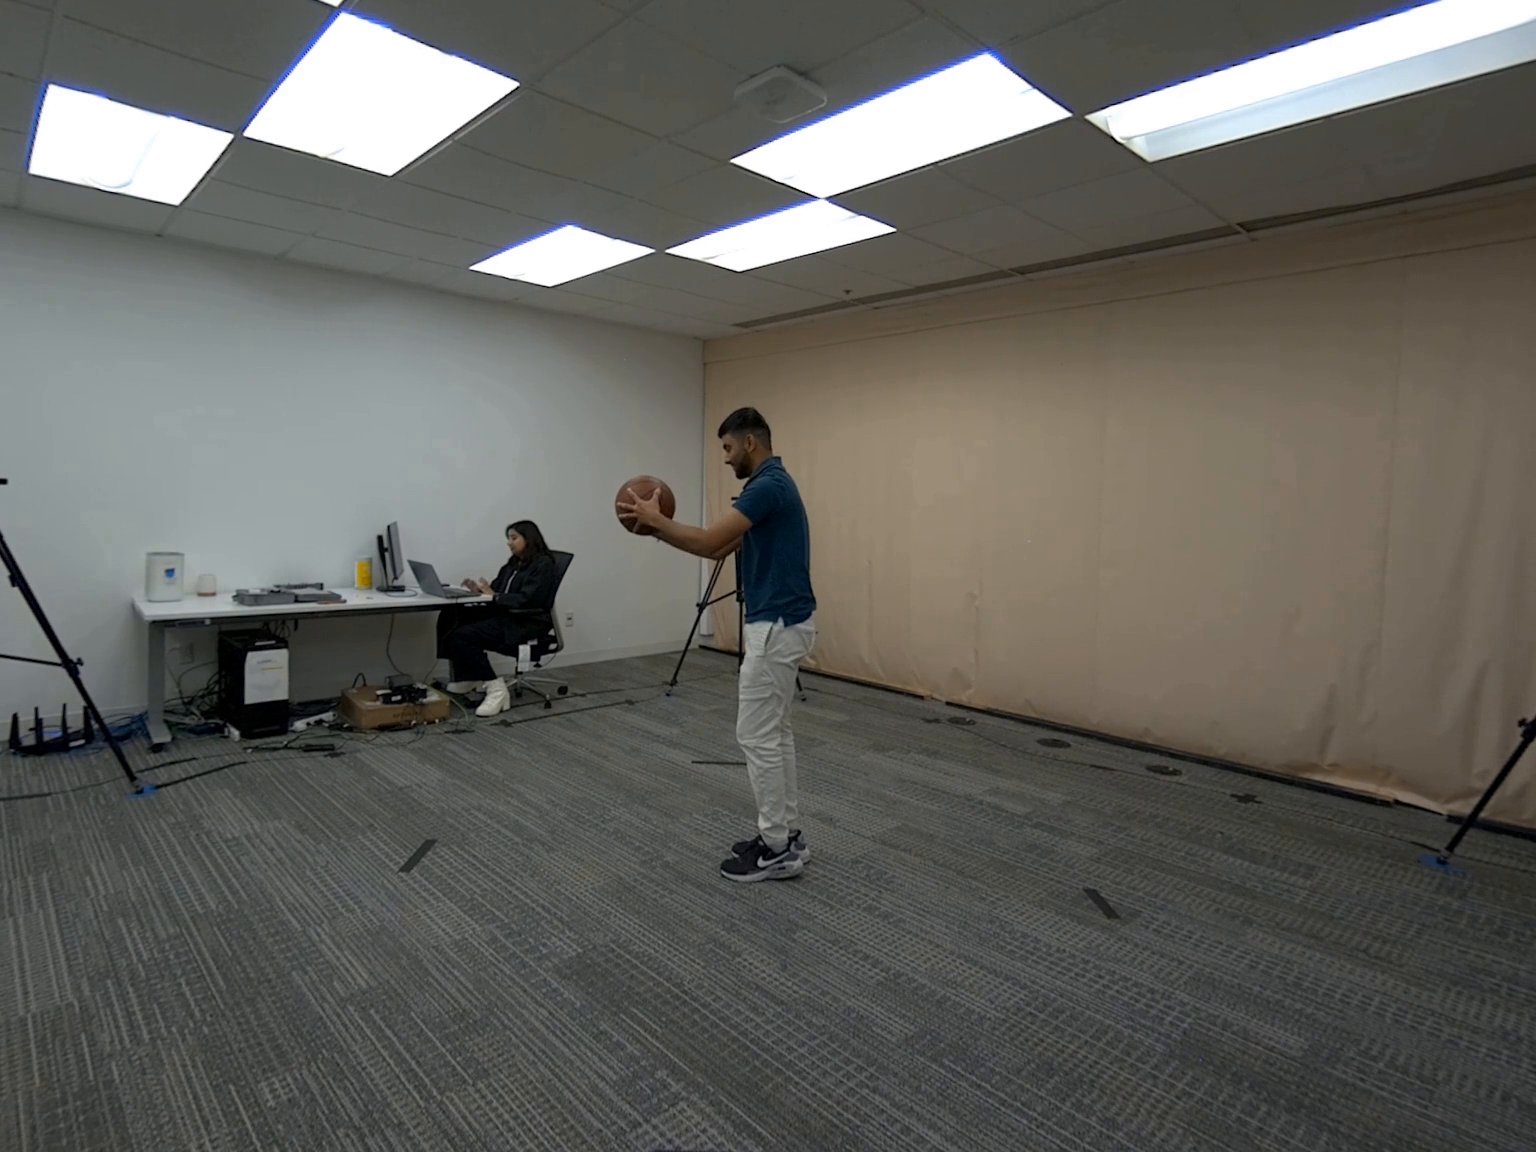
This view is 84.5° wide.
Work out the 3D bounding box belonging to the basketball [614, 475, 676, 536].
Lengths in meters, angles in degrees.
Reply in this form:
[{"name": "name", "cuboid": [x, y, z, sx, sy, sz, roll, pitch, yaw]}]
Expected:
[{"name": "basketball", "cuboid": [-0.493, -0.271, 3.344, 0.236, 0.235, 0.237, 1, 4, -1]}]
